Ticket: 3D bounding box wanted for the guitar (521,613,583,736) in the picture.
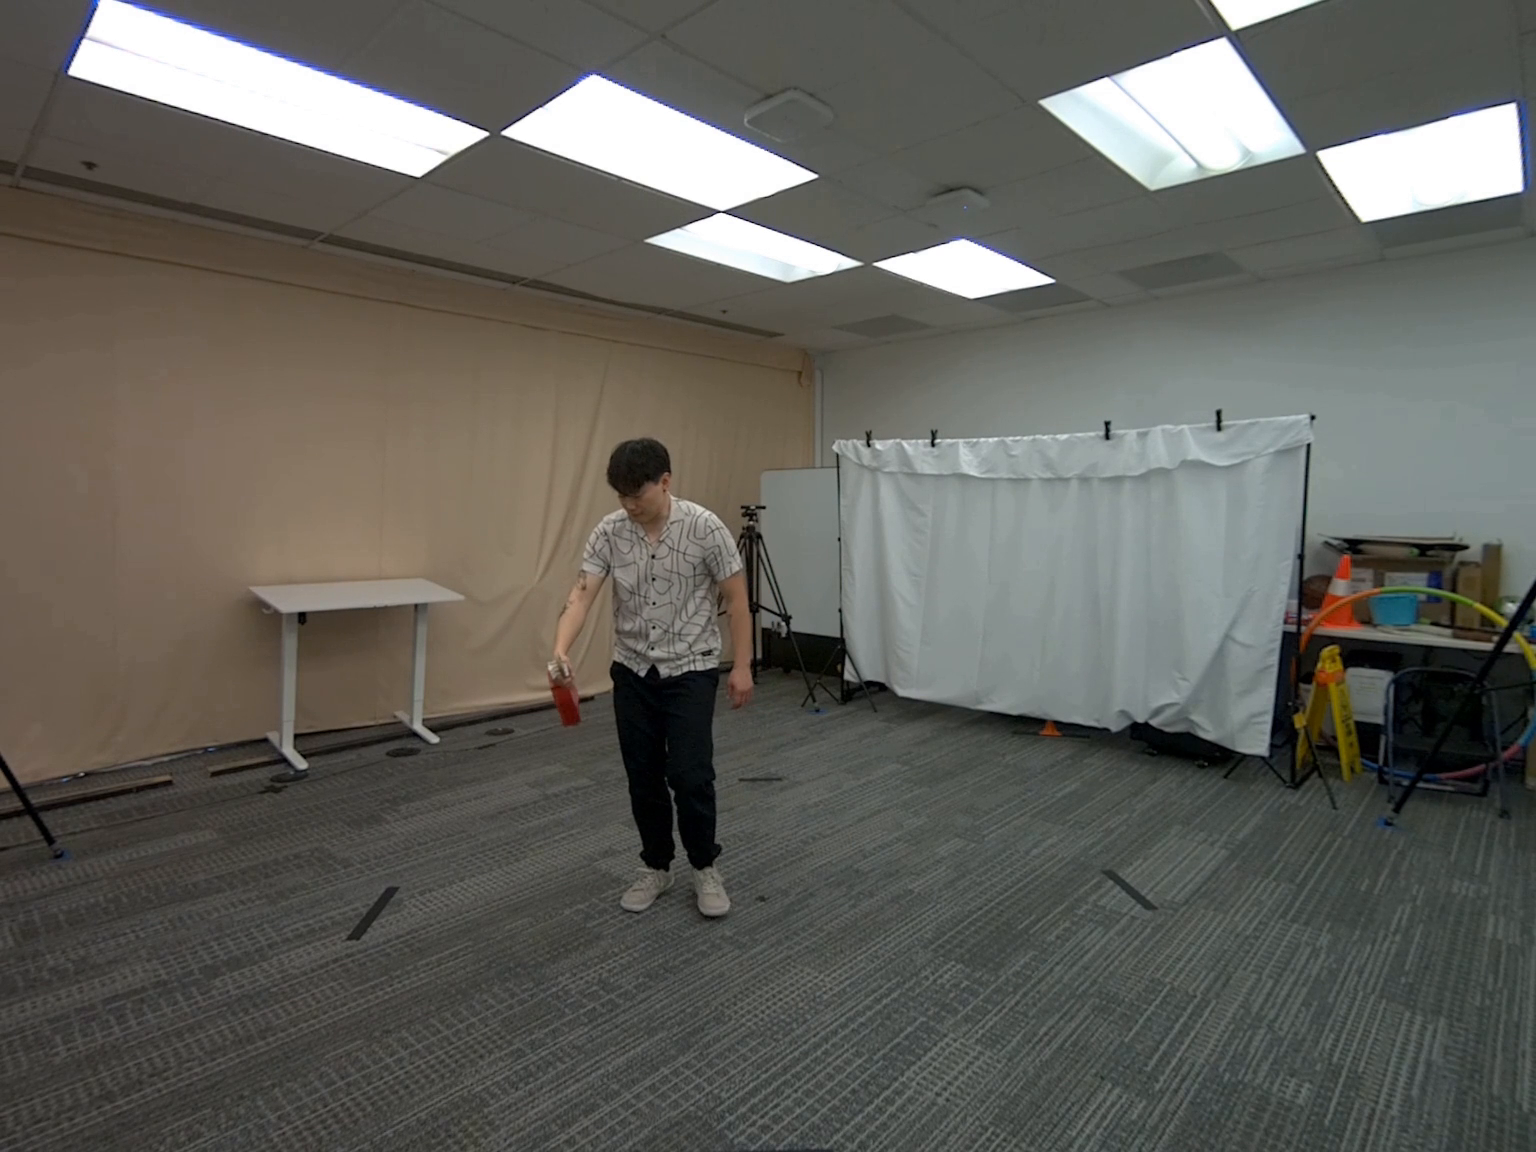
[{"bbox_3d":[-0.683,0.323,2.693,0.070,0.197,0.489,-12,-30,-8],"label":"guitar"}]
